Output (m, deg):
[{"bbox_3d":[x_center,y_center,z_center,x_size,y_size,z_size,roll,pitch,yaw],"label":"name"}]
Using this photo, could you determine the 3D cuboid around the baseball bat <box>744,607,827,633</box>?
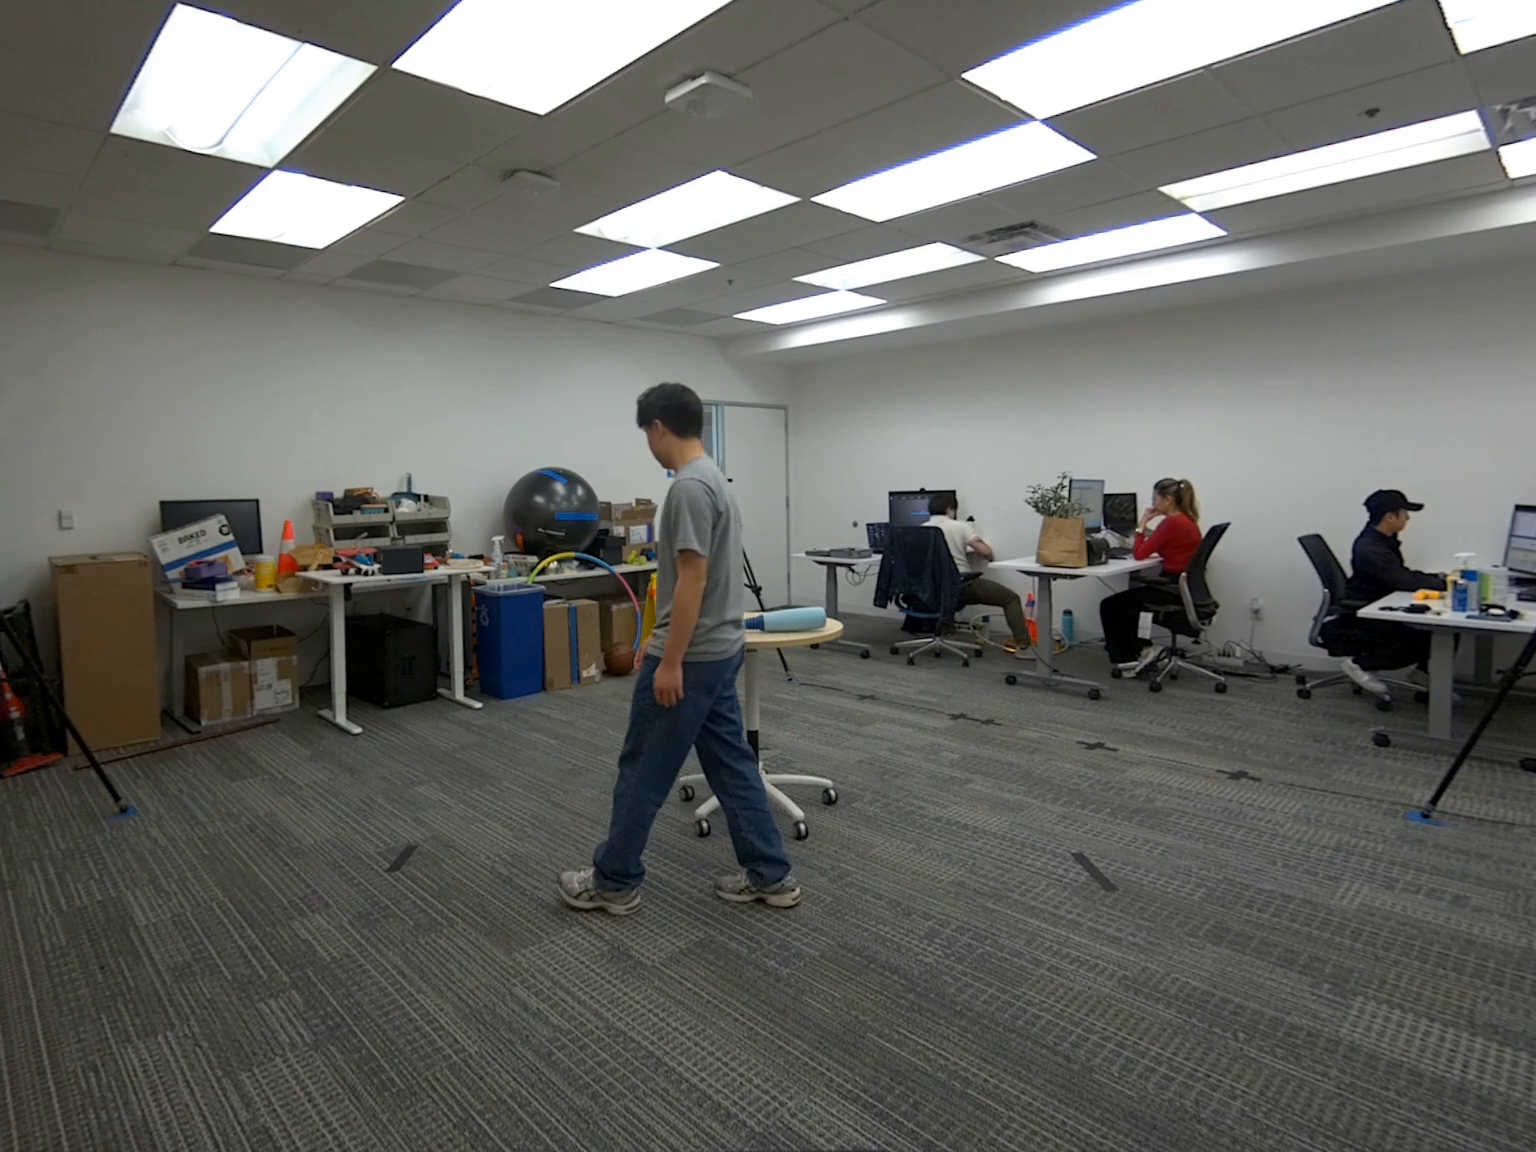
[{"bbox_3d":[-0.035,0.189,3.403,0.541,0.089,0.090,-5,5,-4],"label":"baseball bat"}]
